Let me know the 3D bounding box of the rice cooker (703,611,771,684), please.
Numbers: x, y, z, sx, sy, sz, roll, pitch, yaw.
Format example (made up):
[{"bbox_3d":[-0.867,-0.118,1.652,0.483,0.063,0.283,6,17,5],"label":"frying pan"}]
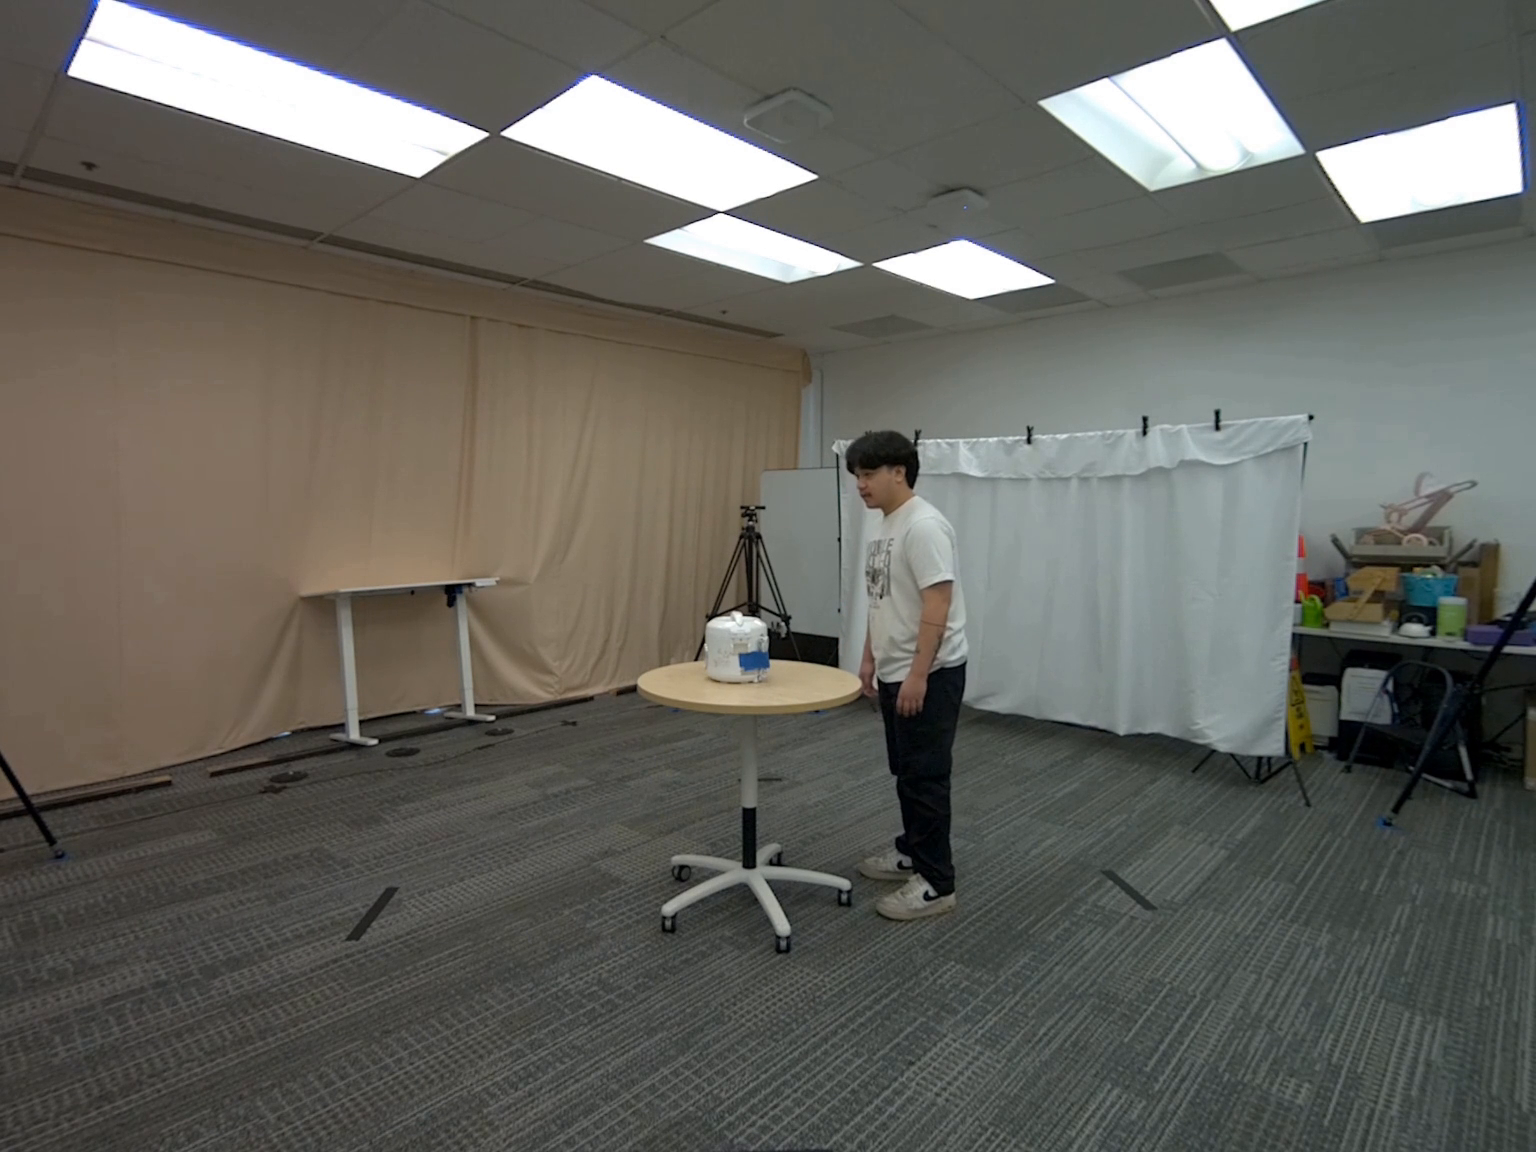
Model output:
[{"bbox_3d":[-0.107,0.239,2.898,0.216,0.232,0.222,-1,3,-7],"label":"rice cooker"}]
